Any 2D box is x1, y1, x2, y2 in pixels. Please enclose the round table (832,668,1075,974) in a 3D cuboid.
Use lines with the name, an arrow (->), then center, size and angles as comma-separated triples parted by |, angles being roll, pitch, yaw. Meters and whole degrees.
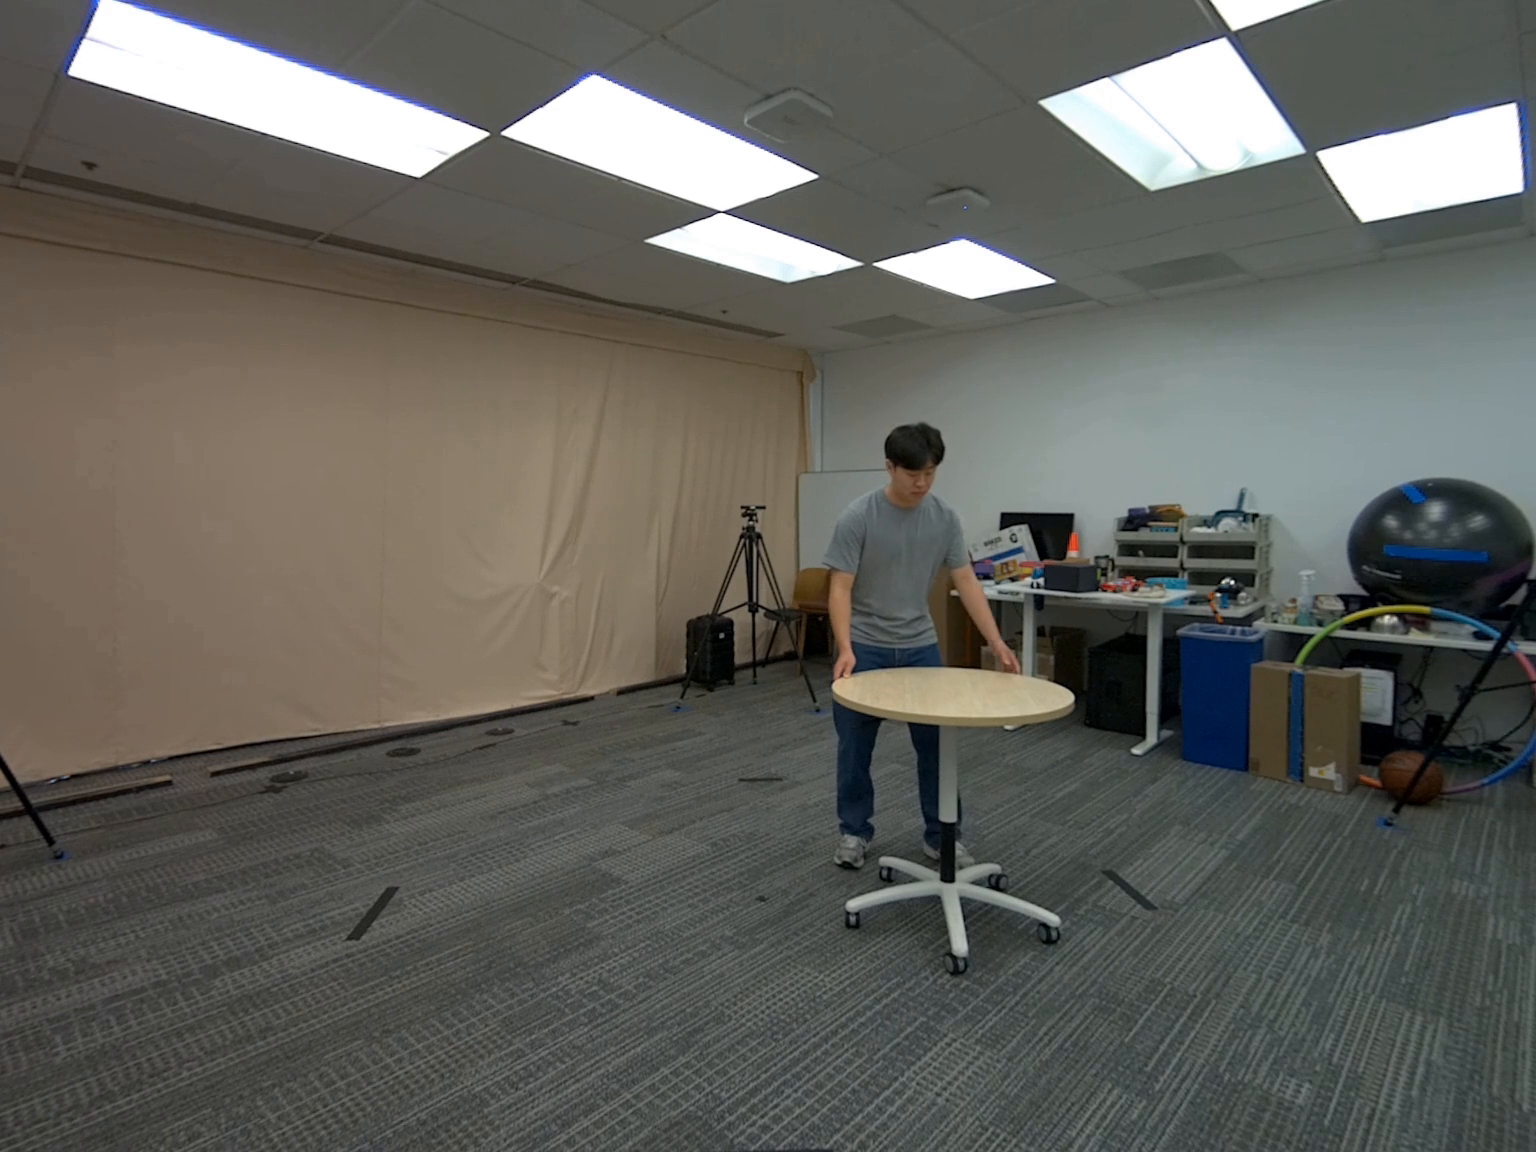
round table -> 0.601, 0.764, 2.808 | 0.763, 0.792, 0.766 | 0, 3, -2
